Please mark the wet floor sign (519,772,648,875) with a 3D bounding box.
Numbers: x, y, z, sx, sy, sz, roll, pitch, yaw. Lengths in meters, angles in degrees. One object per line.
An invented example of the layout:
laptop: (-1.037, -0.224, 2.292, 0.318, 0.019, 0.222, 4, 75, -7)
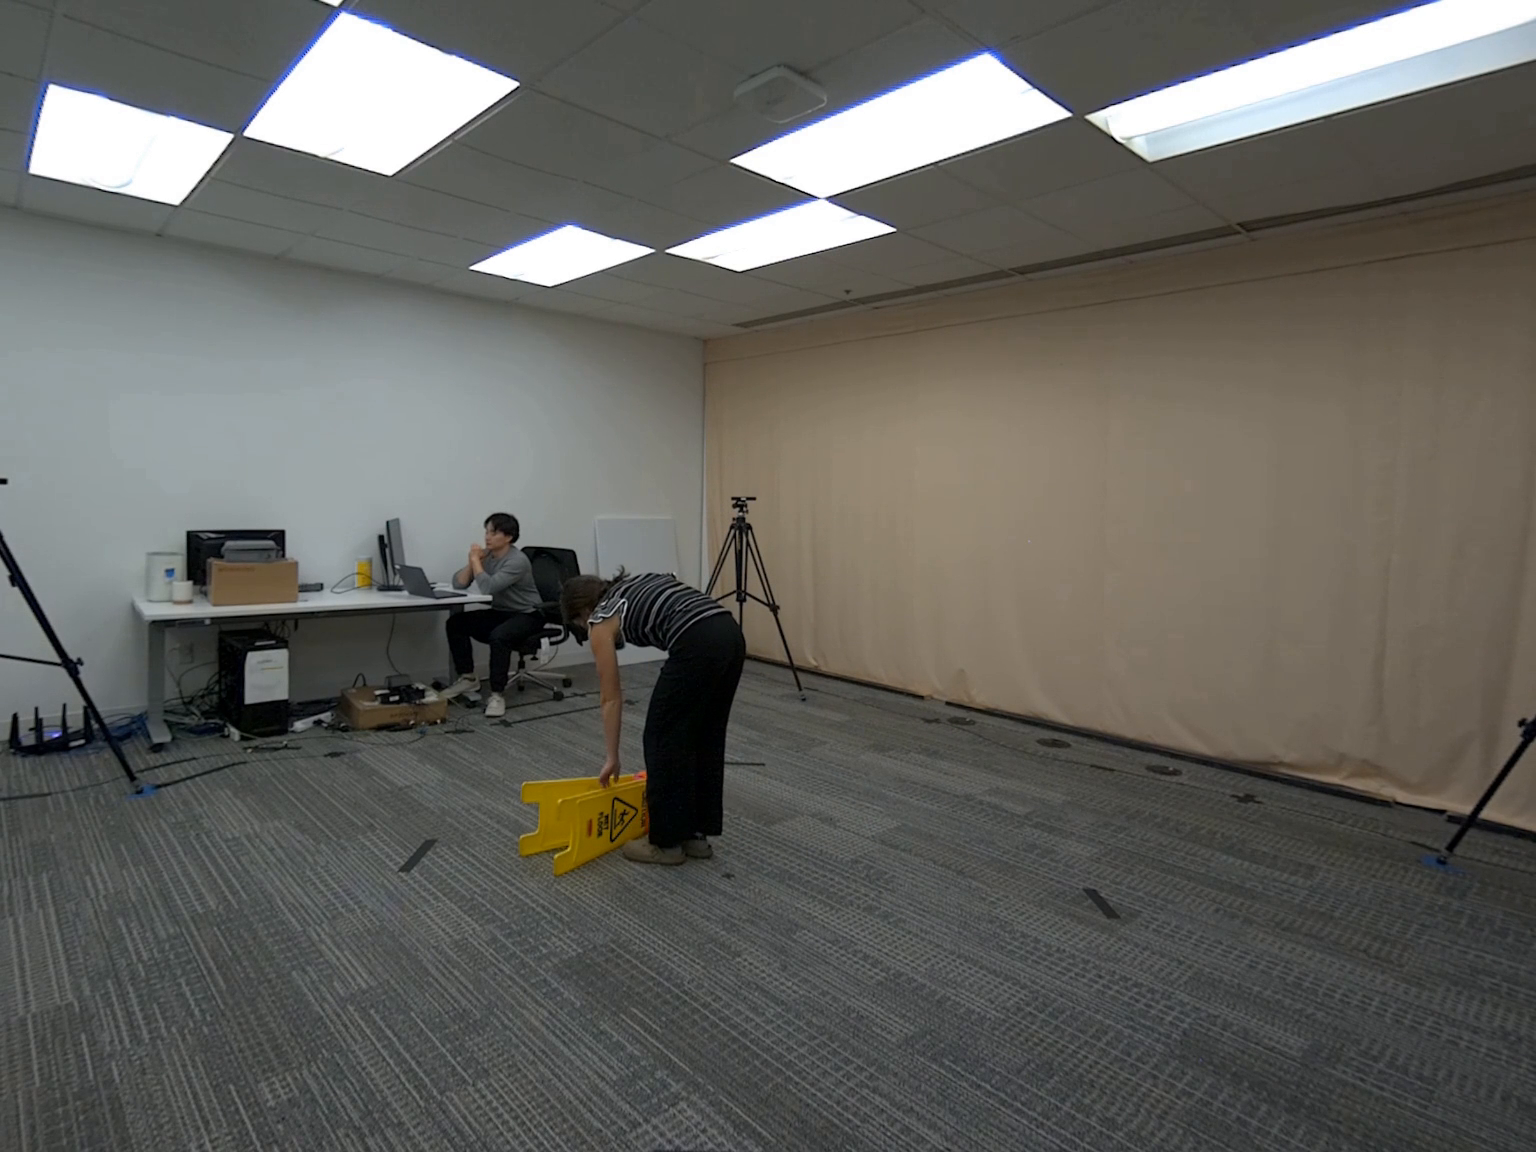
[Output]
wet floor sign: (-0.655, 0.947, 3.378, 0.297, 0.282, 0.630, 4, 2, 42)
